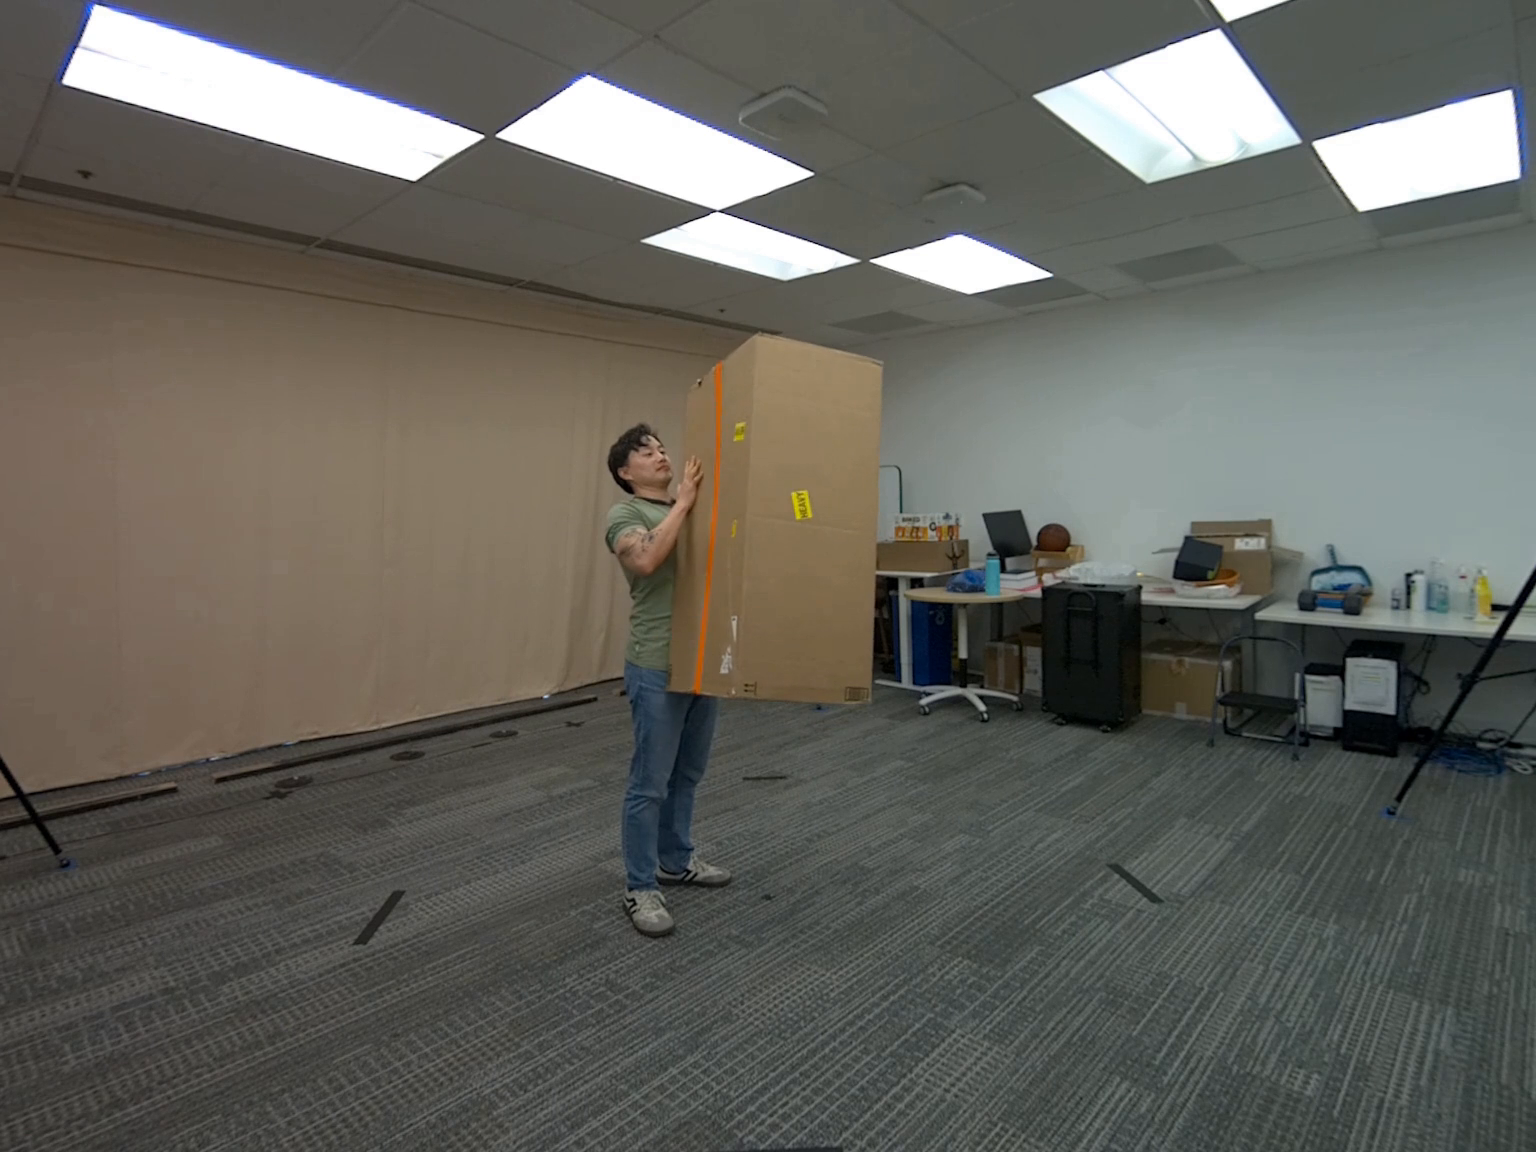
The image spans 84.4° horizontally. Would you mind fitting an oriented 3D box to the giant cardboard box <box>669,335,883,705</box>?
[{"bbox_3d":[0.013,-0.138,2.637,0.416,1.031,0.589,7,-9,-25],"label":"giant cardboard box"}]
